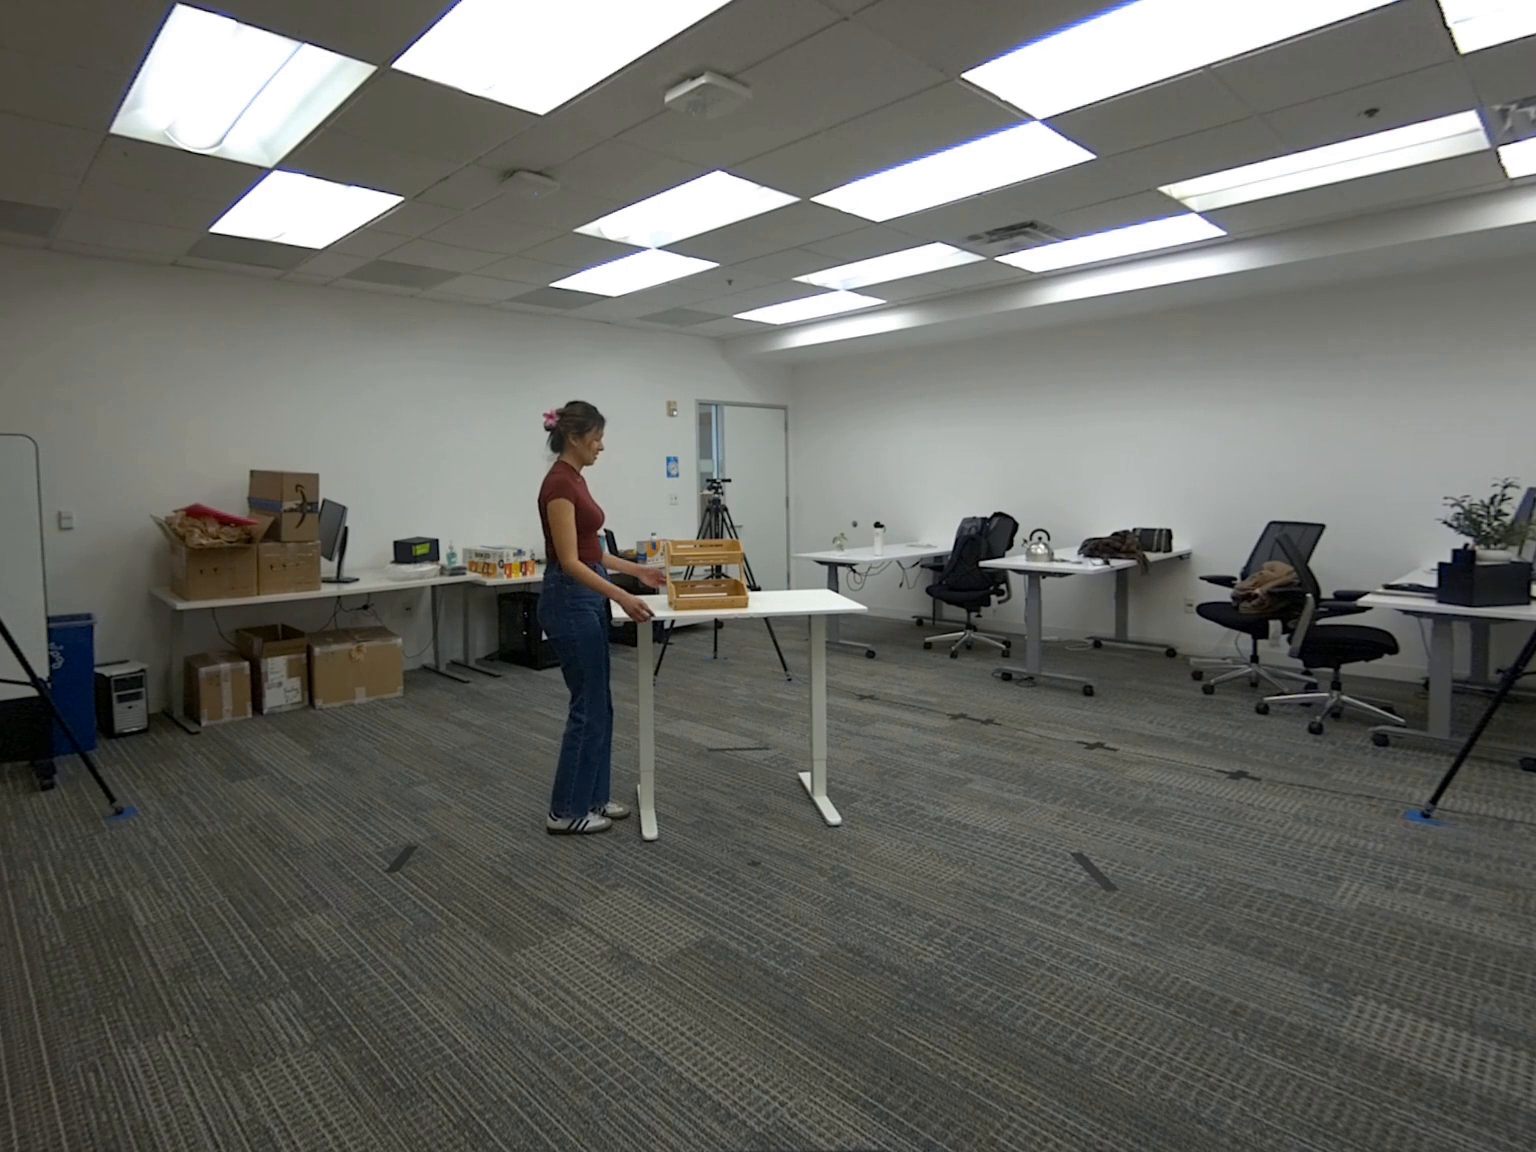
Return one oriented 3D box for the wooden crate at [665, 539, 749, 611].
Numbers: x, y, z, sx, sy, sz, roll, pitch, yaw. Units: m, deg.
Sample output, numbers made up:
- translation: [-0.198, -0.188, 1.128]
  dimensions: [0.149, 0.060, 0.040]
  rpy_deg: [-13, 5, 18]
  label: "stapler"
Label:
- translation: [-0.260, -0.016, 3.532]
  dimensions: [0.321, 0.273, 0.306]
  rpy_deg: [-1, 3, -12]
  label: "wooden crate"
